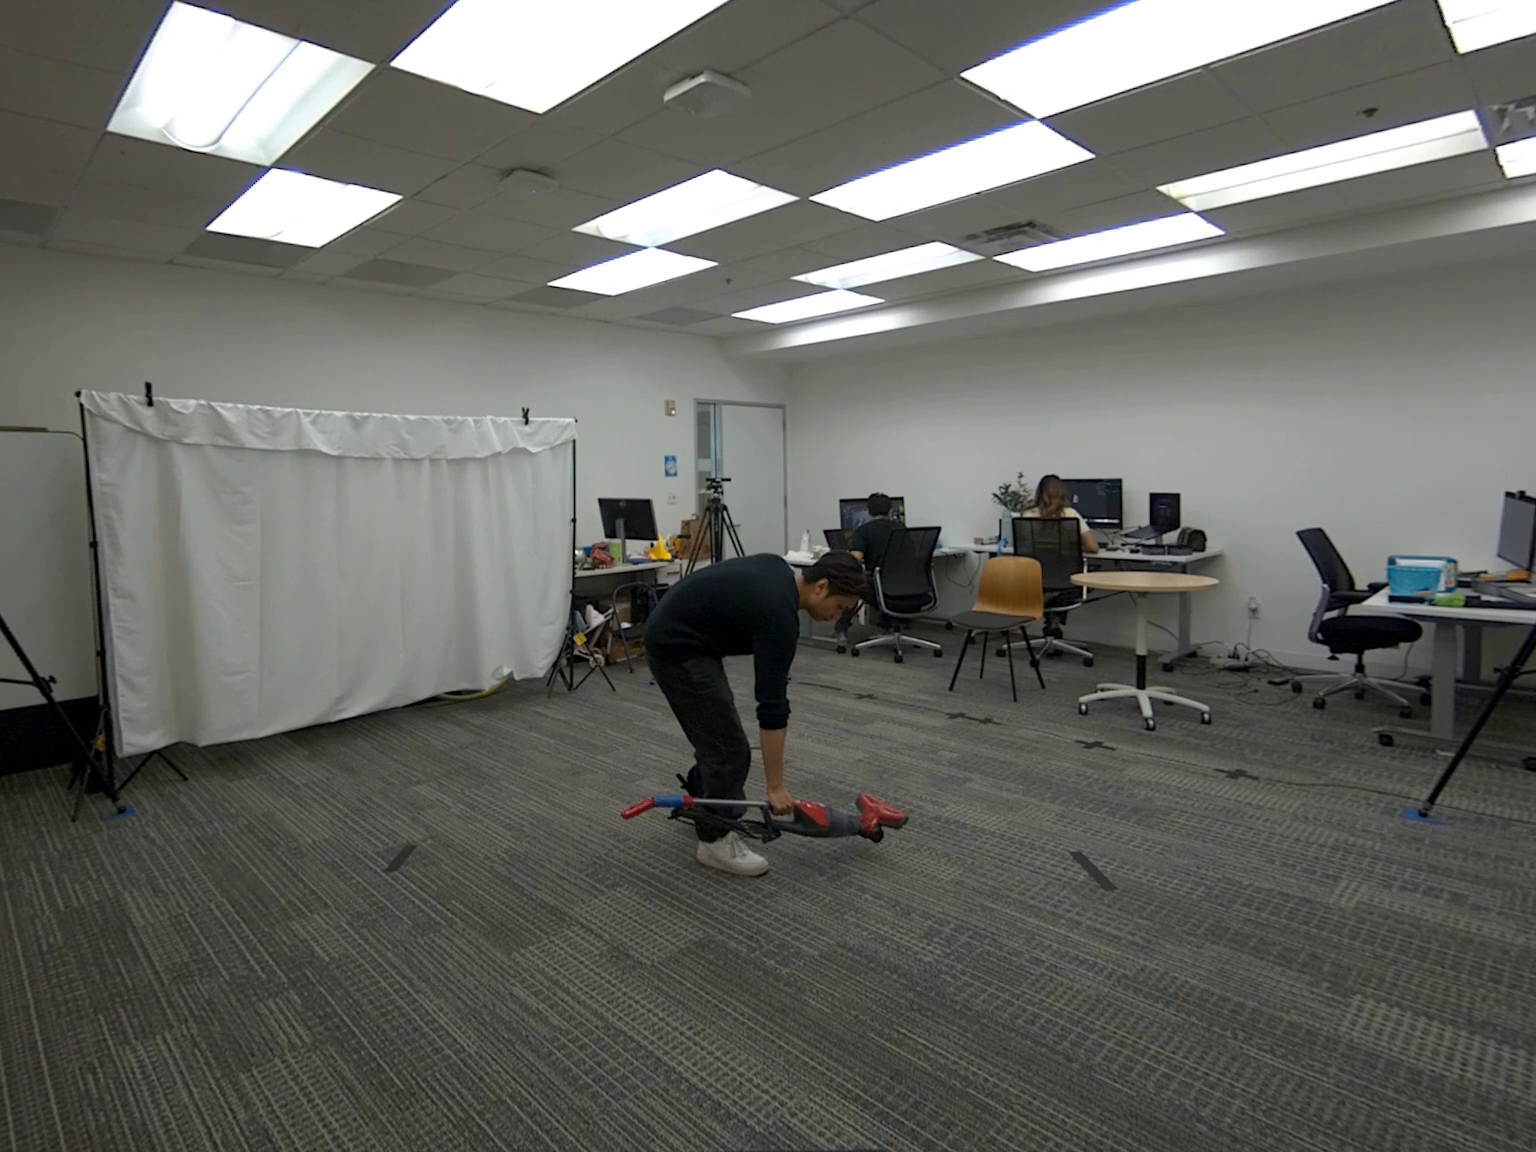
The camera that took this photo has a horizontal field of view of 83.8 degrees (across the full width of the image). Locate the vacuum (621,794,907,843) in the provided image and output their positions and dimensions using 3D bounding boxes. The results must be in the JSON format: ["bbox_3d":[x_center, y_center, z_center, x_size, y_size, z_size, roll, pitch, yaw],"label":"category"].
[{"bbox_3d":[-0.013,0.823,2.879,1.017,0.144,0.260,10,2,-34],"label":"vacuum"}]
